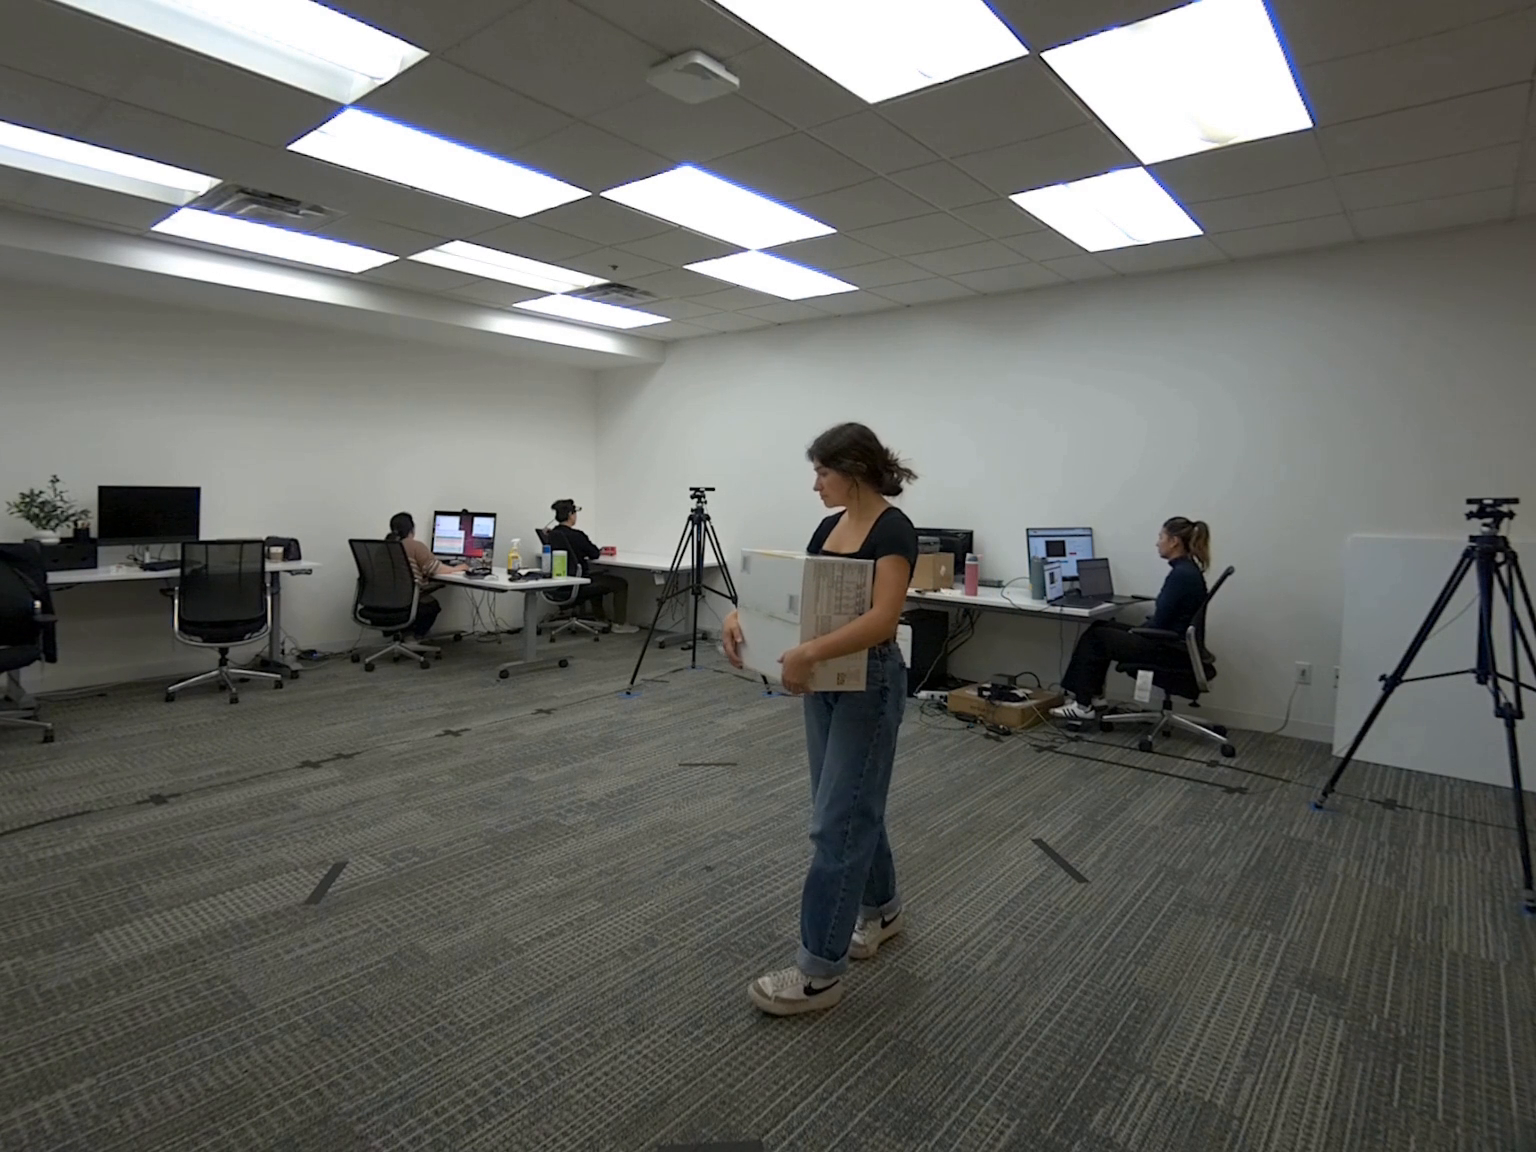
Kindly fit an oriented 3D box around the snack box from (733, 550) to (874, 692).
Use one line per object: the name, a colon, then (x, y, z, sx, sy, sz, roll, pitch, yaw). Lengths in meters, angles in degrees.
snack box: (0.073, 0.104, 2.352, 0.201, 0.340, 0.415, 3, 1, -23)
